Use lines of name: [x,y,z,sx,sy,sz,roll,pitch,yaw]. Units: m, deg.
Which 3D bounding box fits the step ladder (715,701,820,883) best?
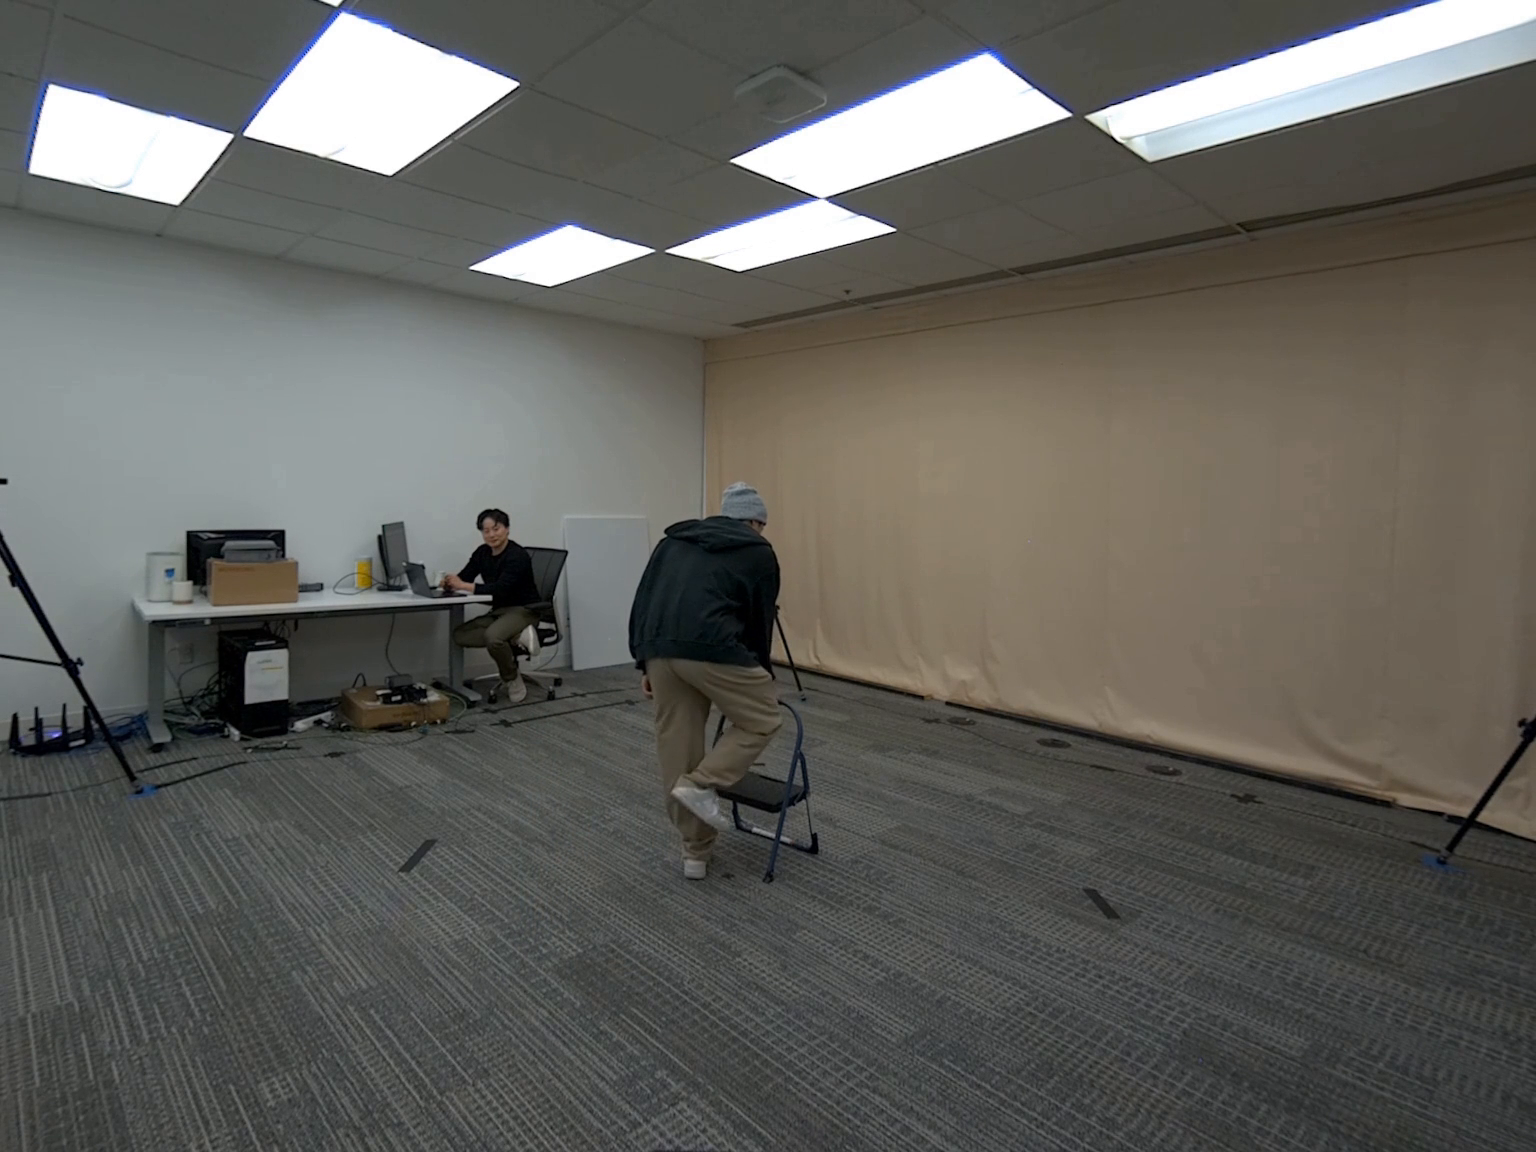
step ladder: [-0.059,0.787,3.305,0.441,0.605,0.341,4,4,37]
